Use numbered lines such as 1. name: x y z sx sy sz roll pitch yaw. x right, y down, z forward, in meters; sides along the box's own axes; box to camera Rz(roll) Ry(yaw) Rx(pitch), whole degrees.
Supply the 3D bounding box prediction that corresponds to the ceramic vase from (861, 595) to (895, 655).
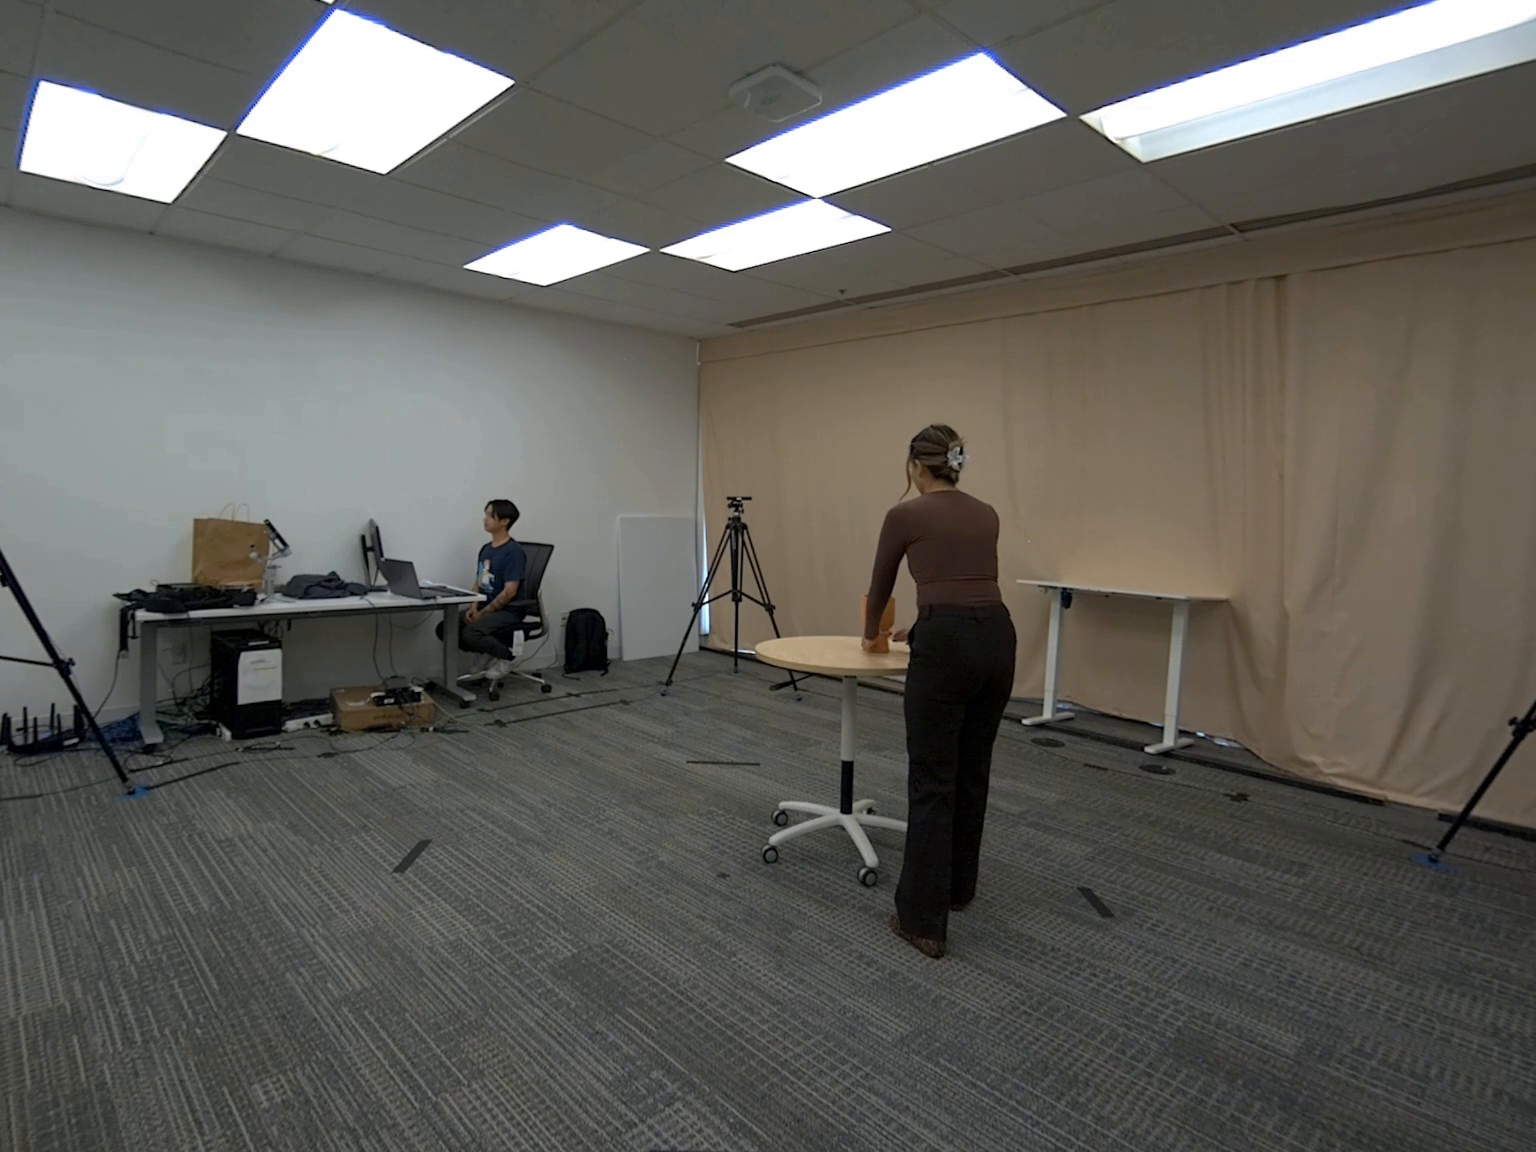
1. ceramic vase: 0.429 0.190 3.360 0.155 0.219 0.138 0 3 -37
